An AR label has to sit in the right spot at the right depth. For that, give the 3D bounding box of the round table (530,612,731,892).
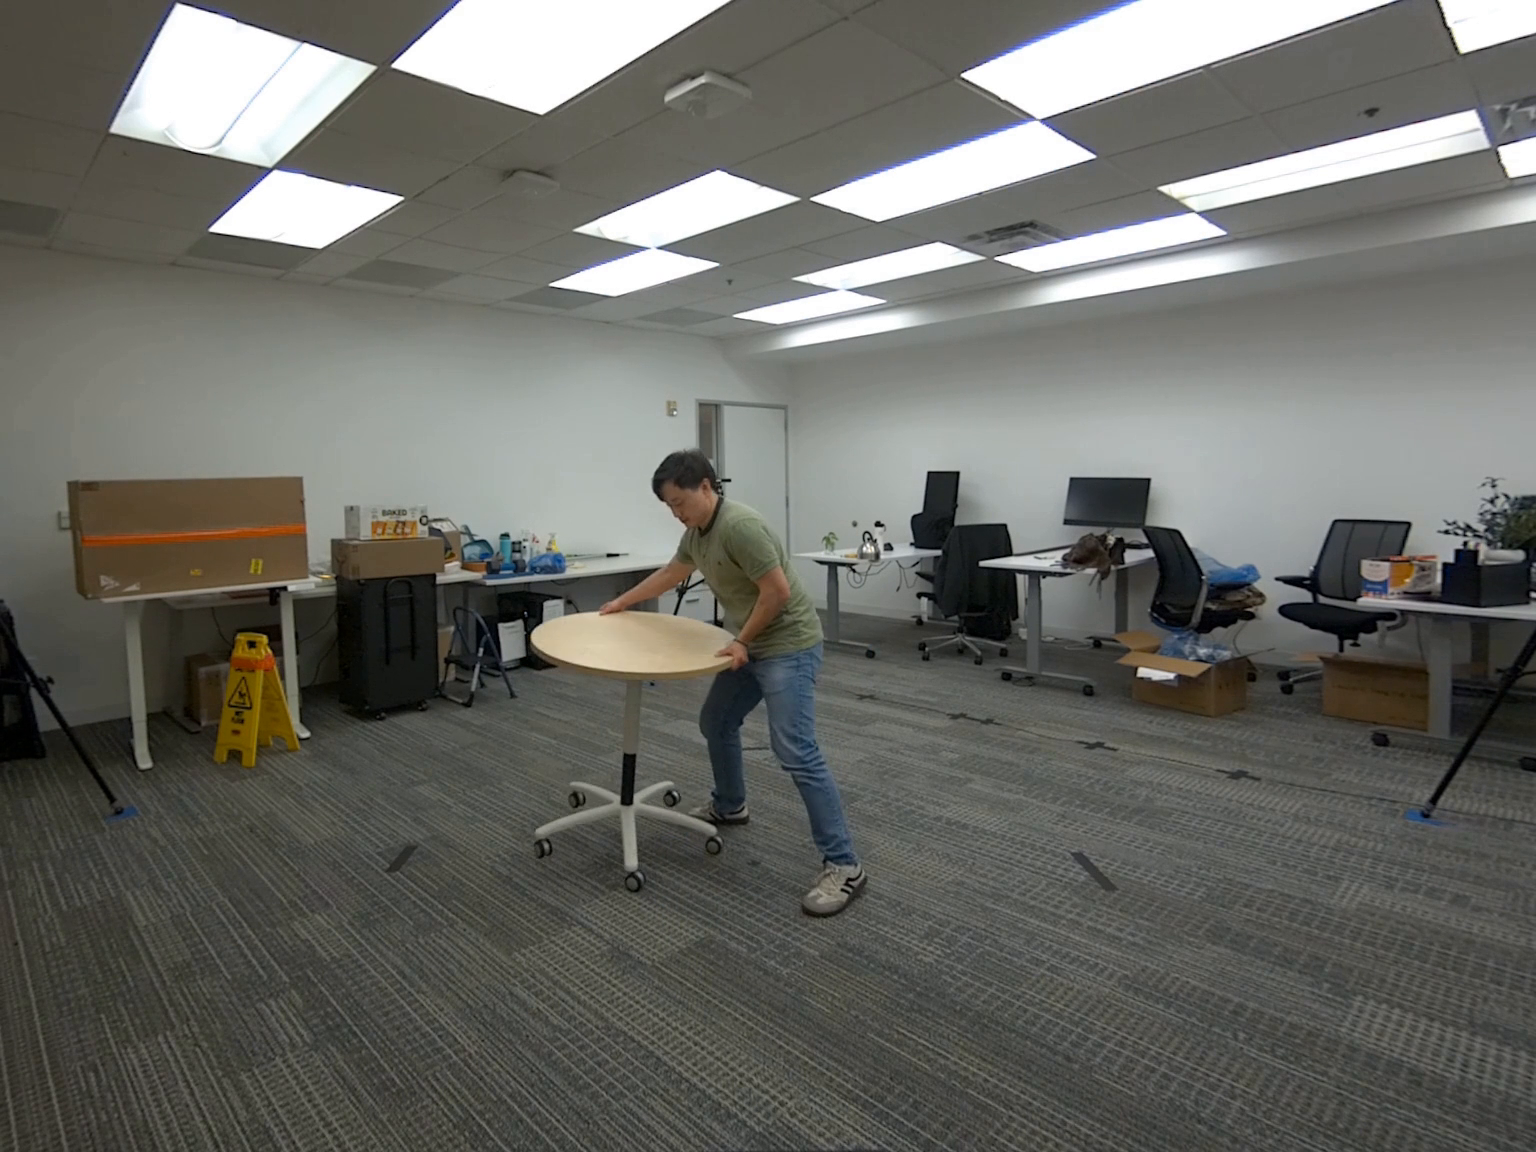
[{"bbox_3d":[-0.514,0.617,3.191,0.763,0.787,0.772,4,10,-2],"label":"round table"}]
